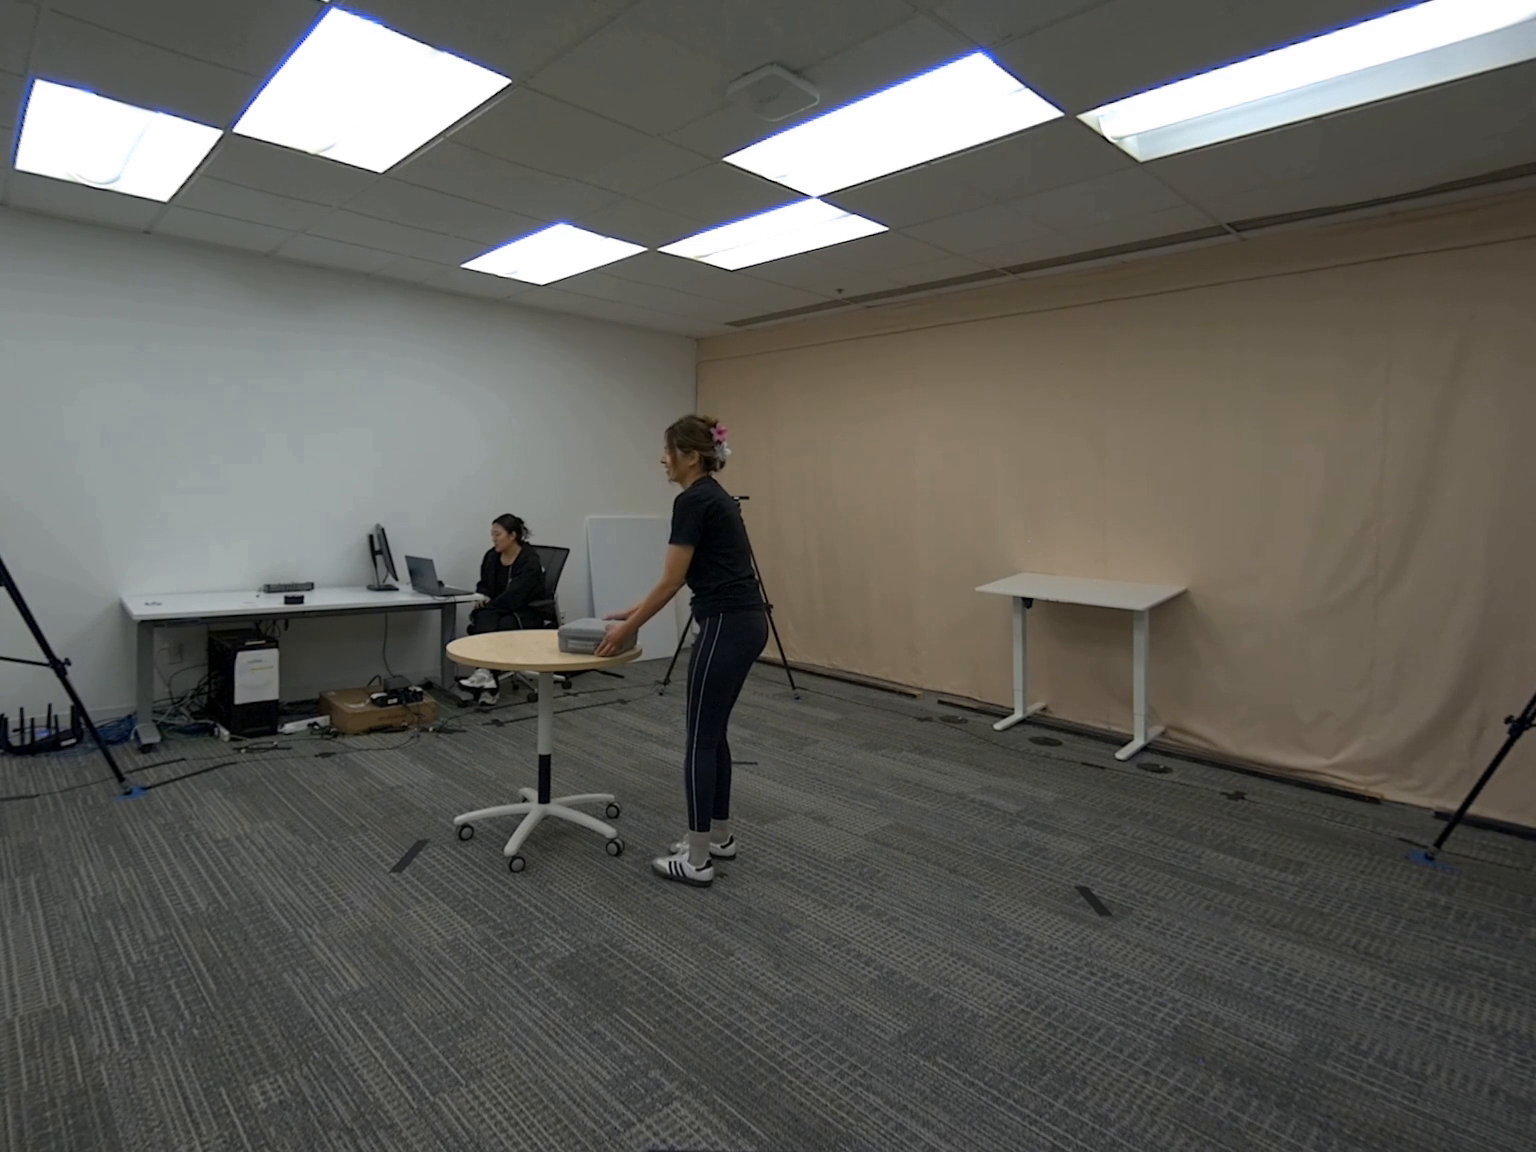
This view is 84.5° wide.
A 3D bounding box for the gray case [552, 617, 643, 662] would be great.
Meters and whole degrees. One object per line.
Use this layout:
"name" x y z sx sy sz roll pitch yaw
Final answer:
"gray case" -0.663 0.241 3.306 0.260 0.104 0.258 4 6 14
